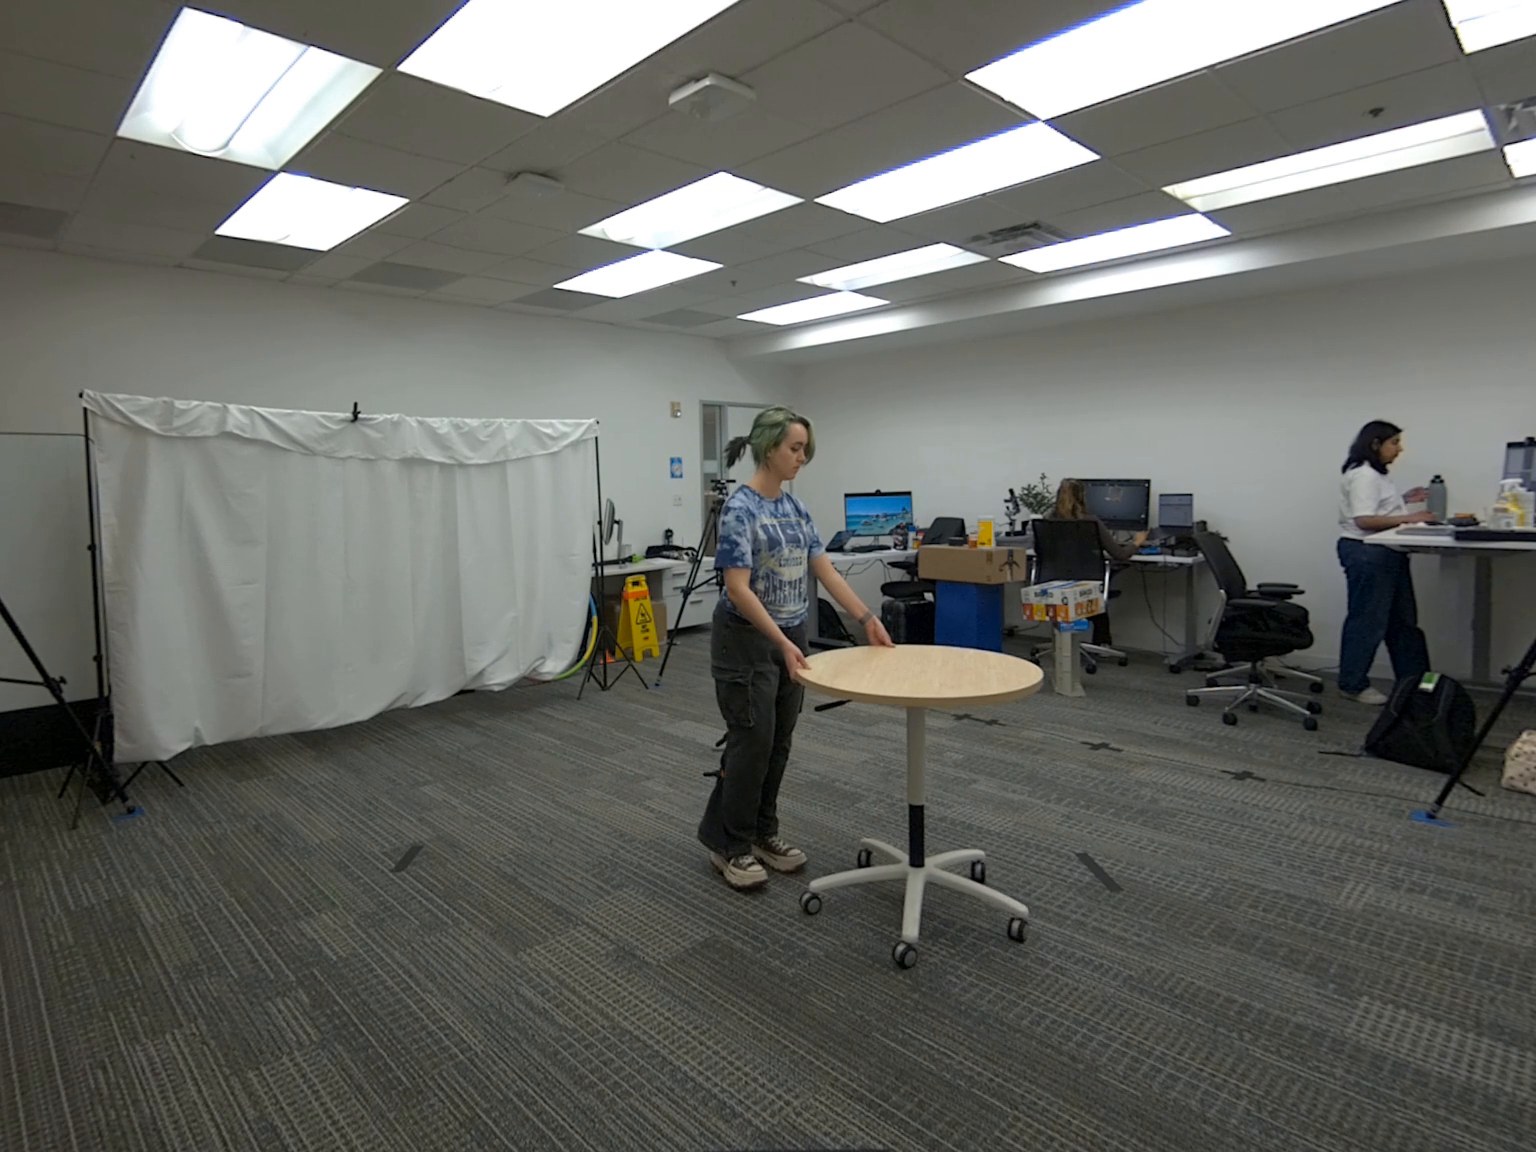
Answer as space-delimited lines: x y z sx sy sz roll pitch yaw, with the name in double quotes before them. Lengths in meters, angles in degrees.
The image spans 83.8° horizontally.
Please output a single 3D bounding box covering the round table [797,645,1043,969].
"round table" 0.475 0.688 2.745 0.763 0.791 0.768 -1 5 -2
